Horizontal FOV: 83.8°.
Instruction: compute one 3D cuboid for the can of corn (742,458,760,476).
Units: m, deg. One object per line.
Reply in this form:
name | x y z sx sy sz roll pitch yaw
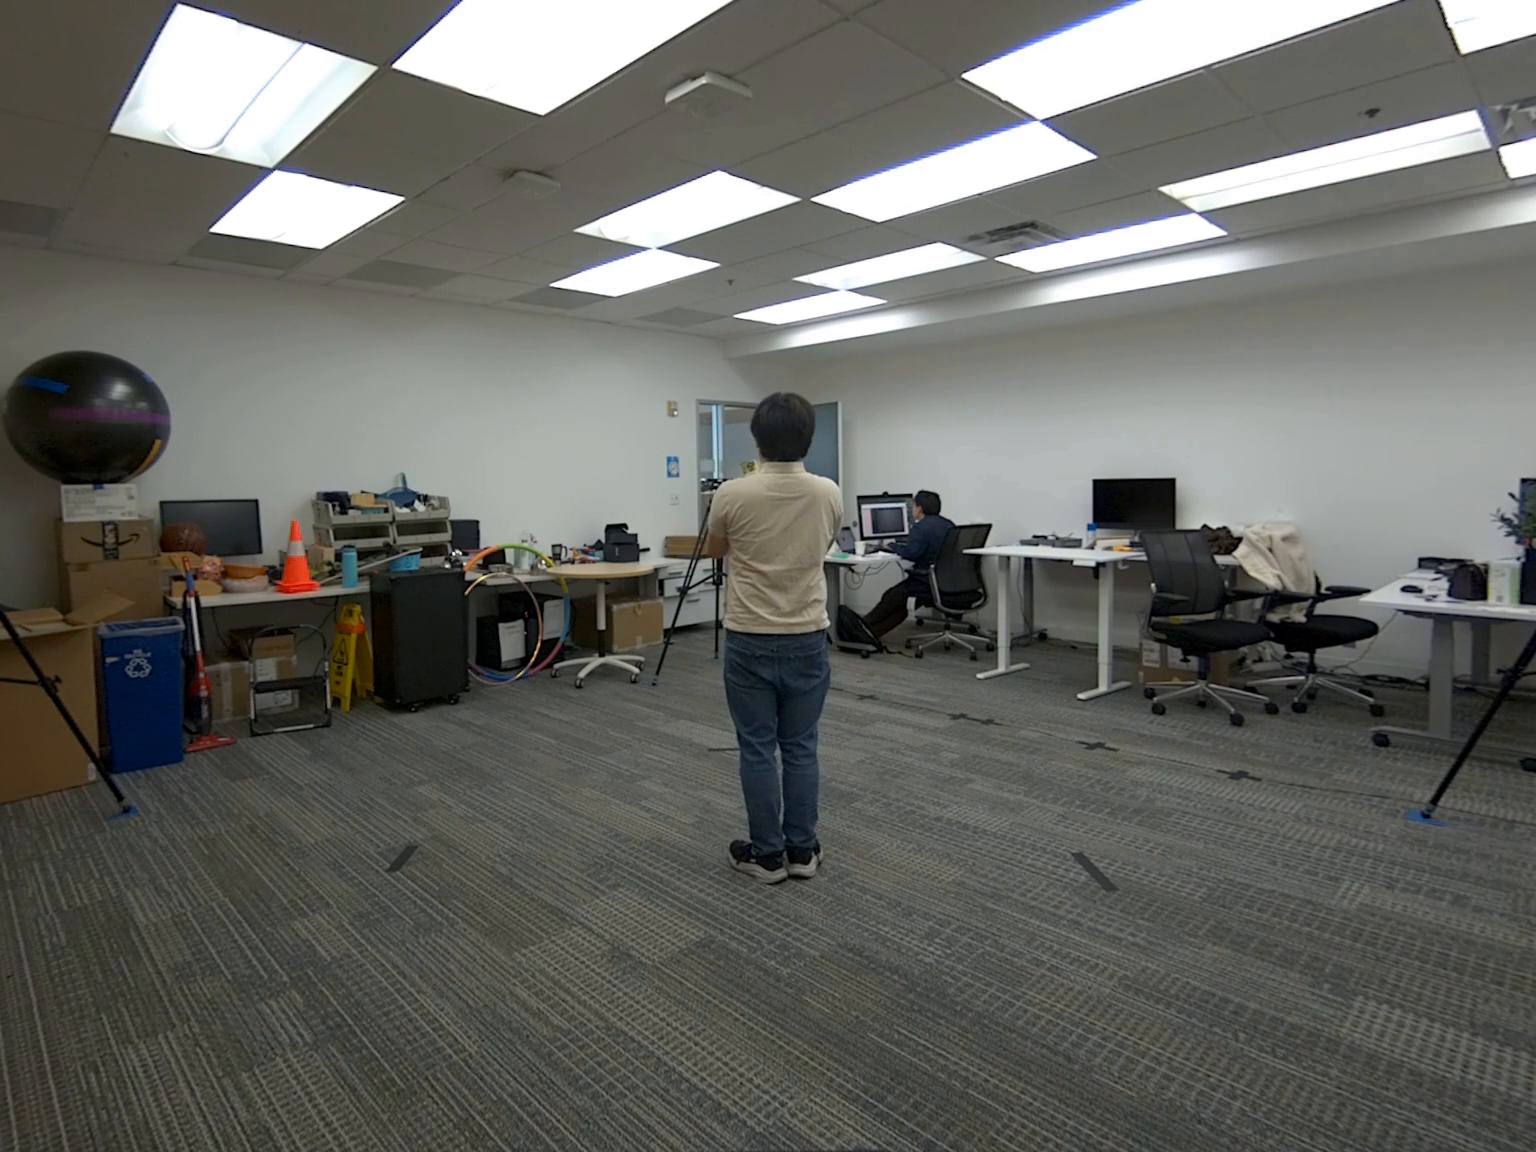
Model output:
can of corn | -0.053 -0.390 3.316 0.074 0.112 0.074 -13 -5 -3
